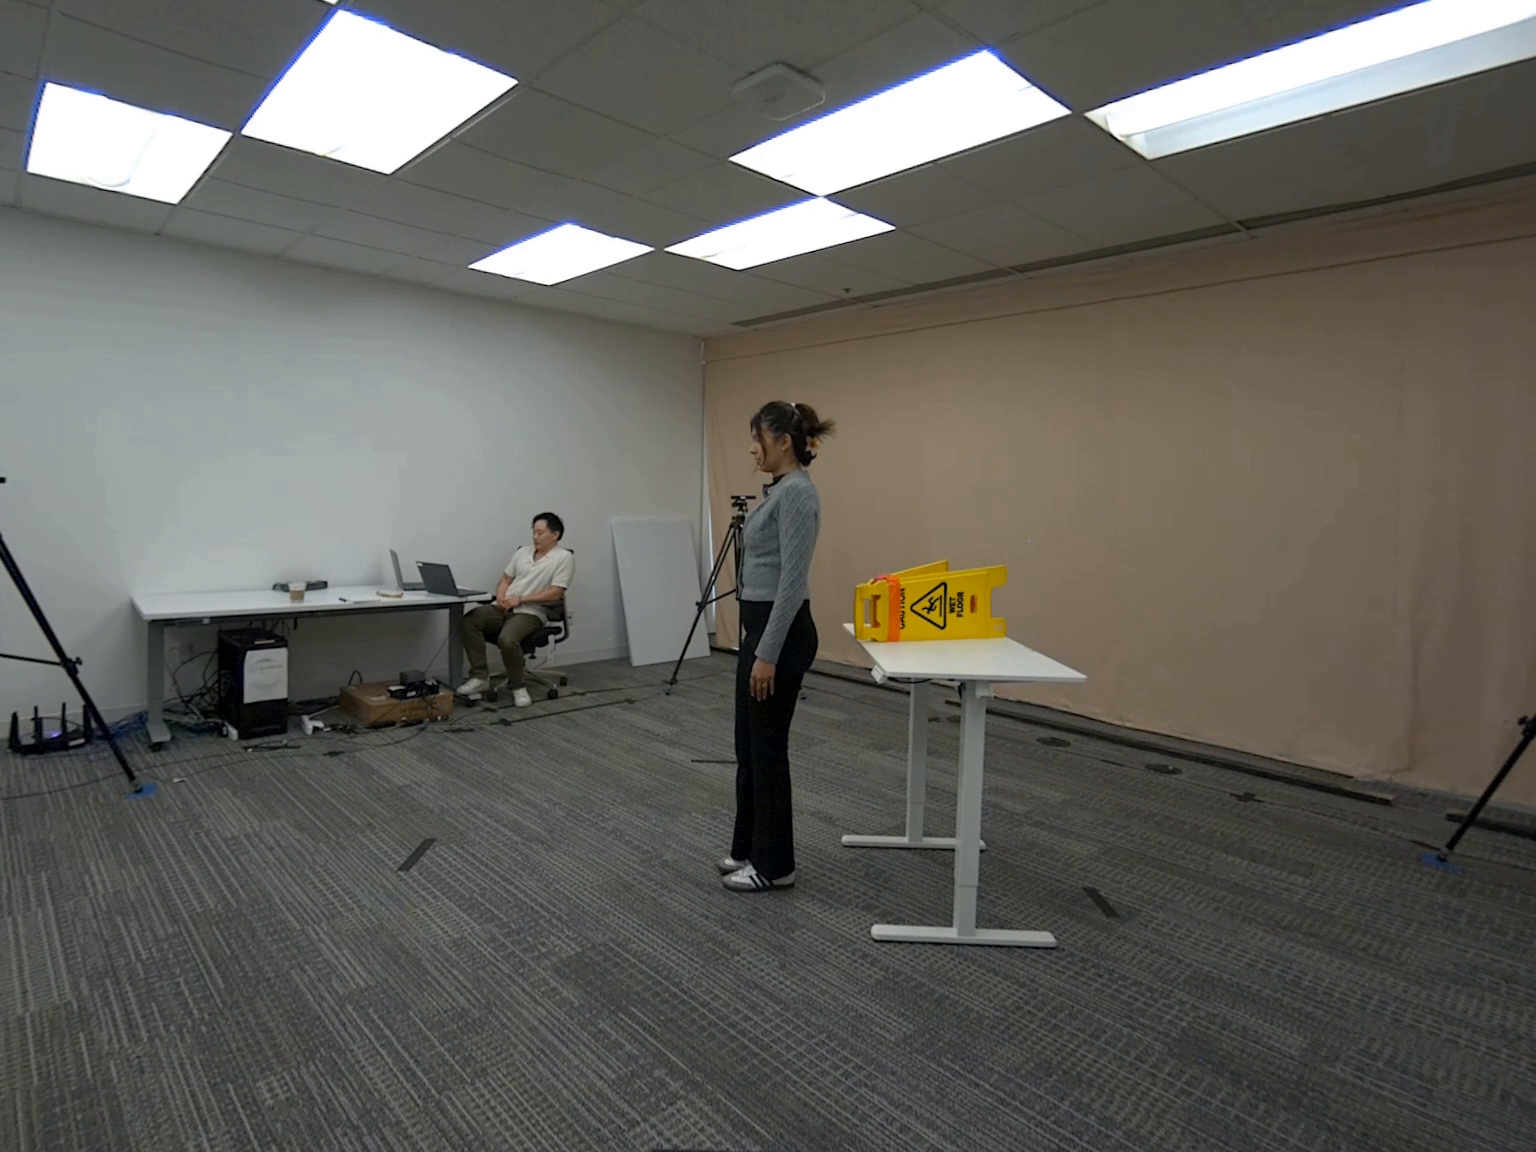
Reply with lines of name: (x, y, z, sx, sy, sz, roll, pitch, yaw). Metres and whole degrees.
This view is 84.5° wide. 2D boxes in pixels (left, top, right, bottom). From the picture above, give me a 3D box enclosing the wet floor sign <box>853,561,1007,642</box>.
wet floor sign: (0.562, 0.111, 3.181, 0.633, 0.281, 0.297, -5, 7, -35)
